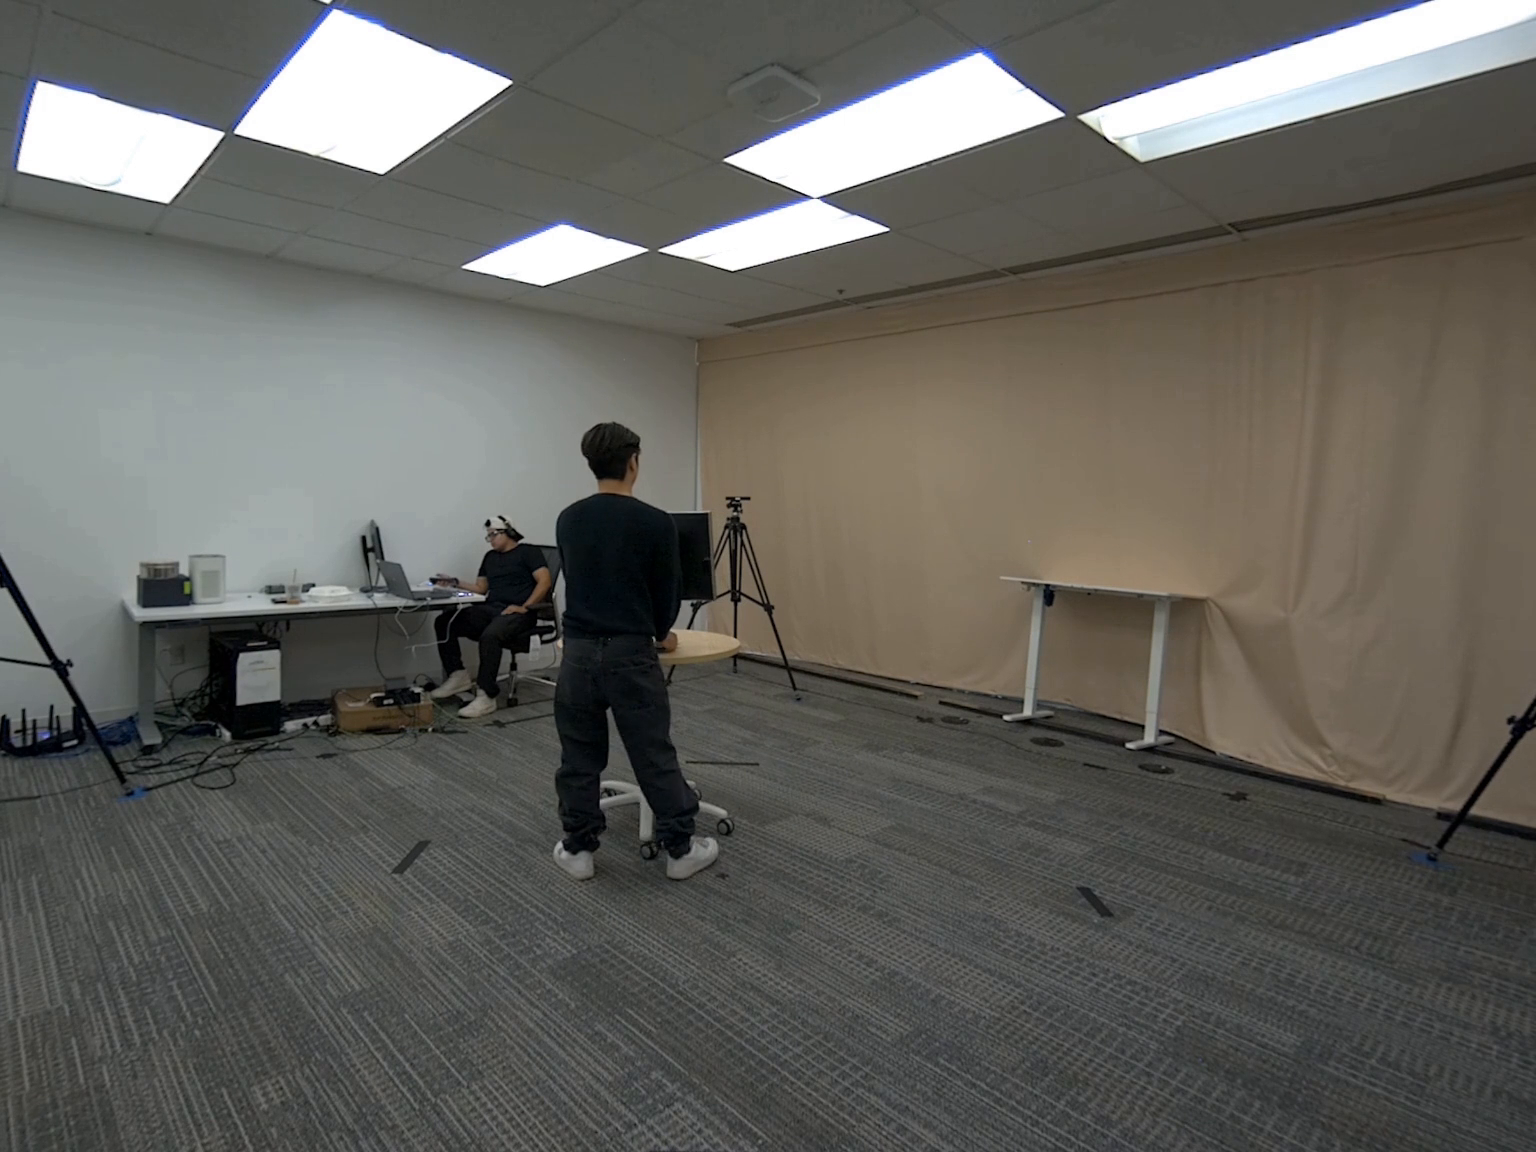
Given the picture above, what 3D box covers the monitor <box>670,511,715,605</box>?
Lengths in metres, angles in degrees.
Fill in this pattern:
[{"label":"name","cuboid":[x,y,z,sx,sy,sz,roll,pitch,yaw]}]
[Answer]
[{"label":"monitor","cuboid":[-0.499,0.016,3.382,0.546,0.522,0.185,1,0,16]}]
